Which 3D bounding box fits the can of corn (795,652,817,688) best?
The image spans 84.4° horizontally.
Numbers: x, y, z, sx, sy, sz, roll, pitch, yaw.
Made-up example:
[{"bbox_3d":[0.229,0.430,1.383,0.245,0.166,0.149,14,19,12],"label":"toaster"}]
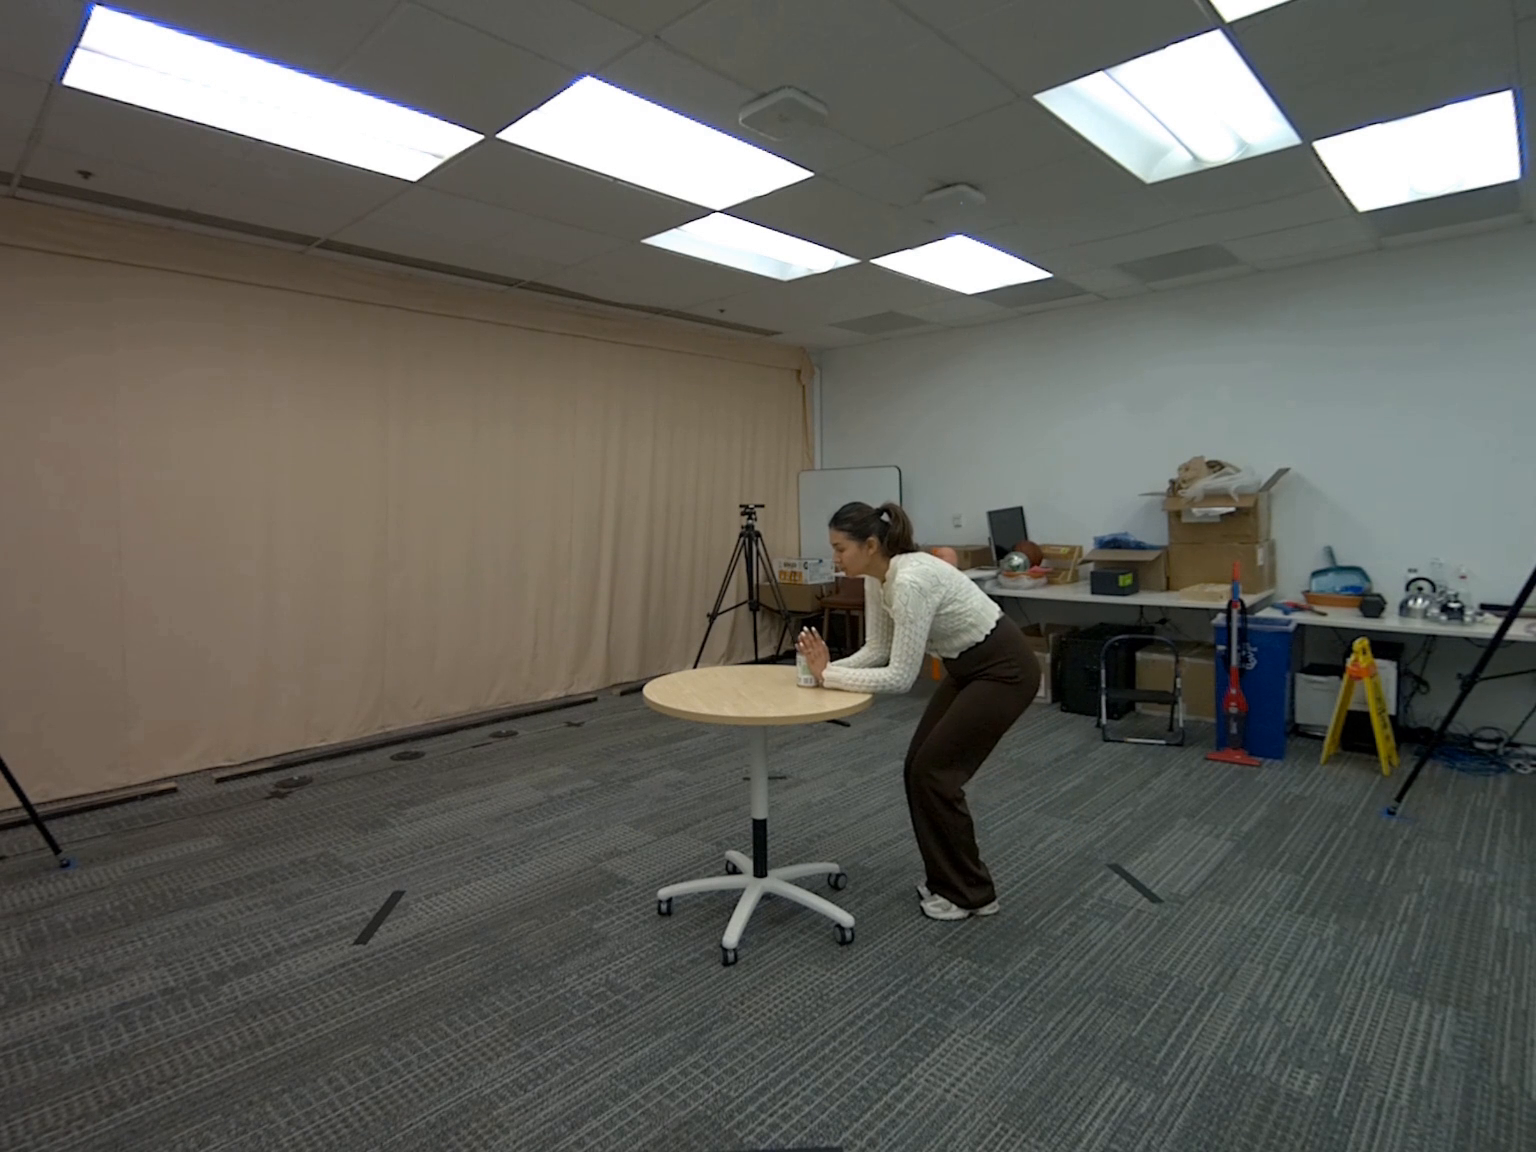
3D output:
[{"bbox_3d":[0.139,0.317,2.818,0.074,0.111,0.074,2,5,-2],"label":"can of corn"}]
